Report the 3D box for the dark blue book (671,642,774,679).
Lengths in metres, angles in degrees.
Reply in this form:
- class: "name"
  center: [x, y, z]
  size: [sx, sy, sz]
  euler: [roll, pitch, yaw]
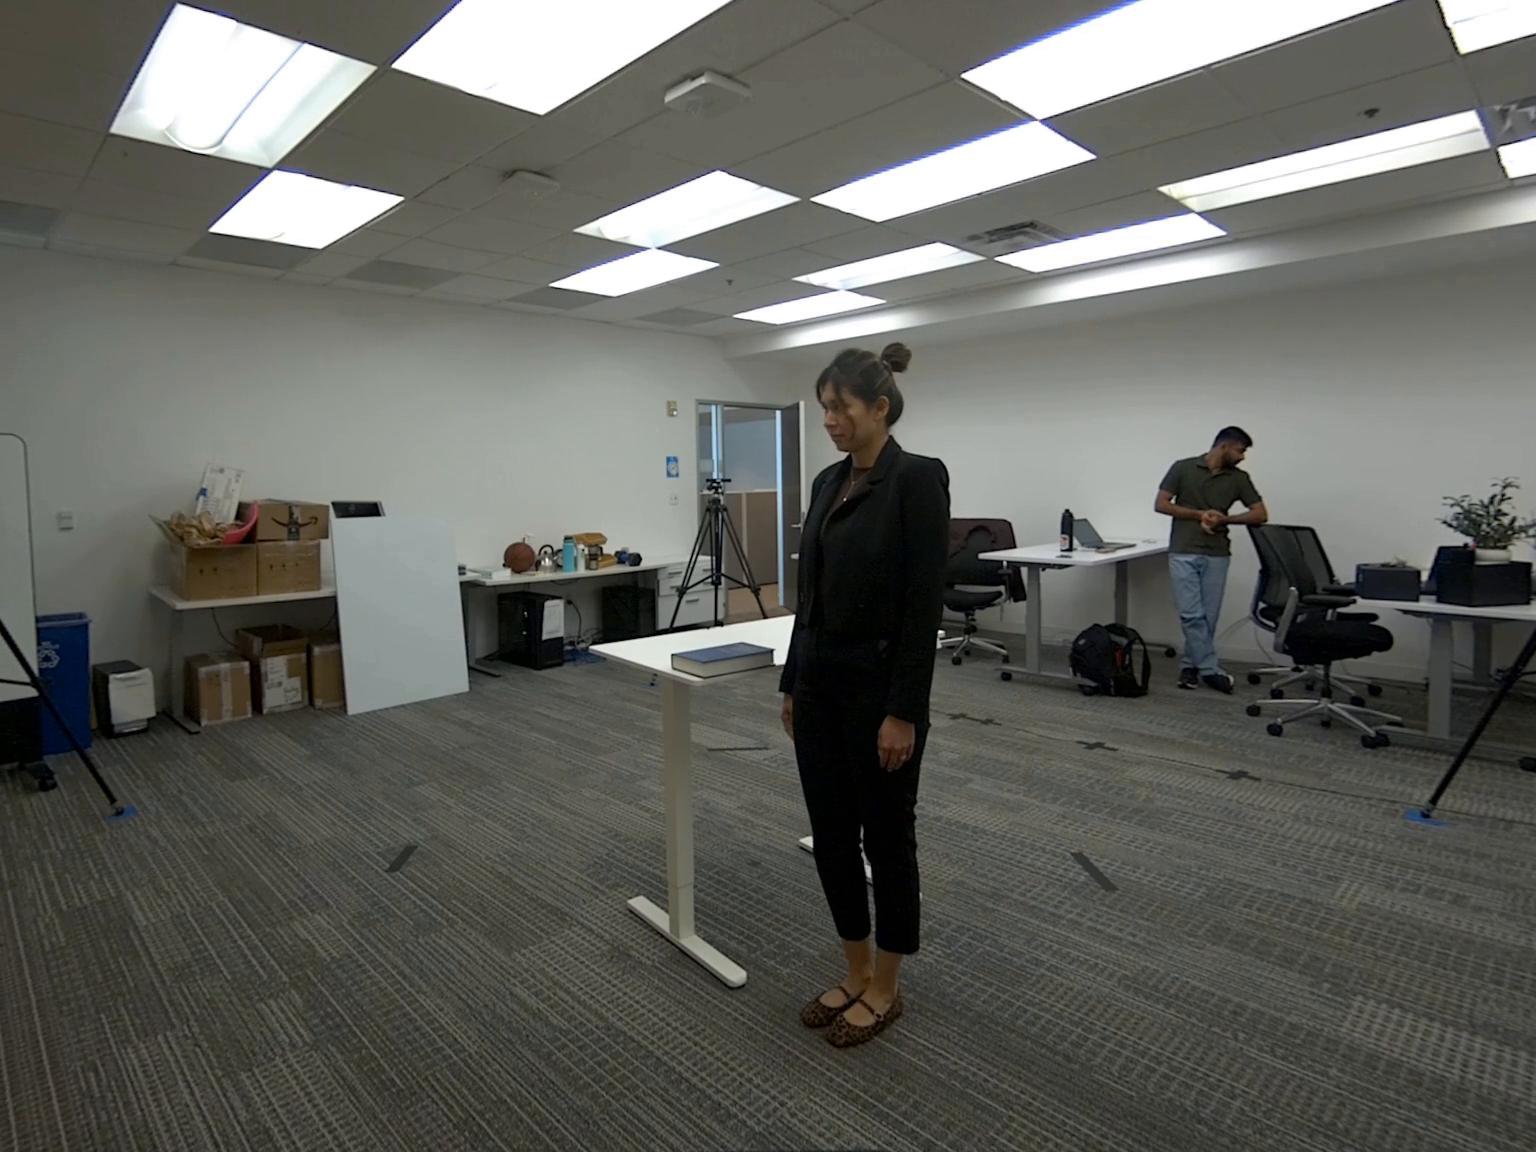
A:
- class: "dark blue book"
  center: [-0.126, 0.225, 2.377]
  size: [0.239, 0.045, 0.168]
  euler: [-5, 7, -32]
